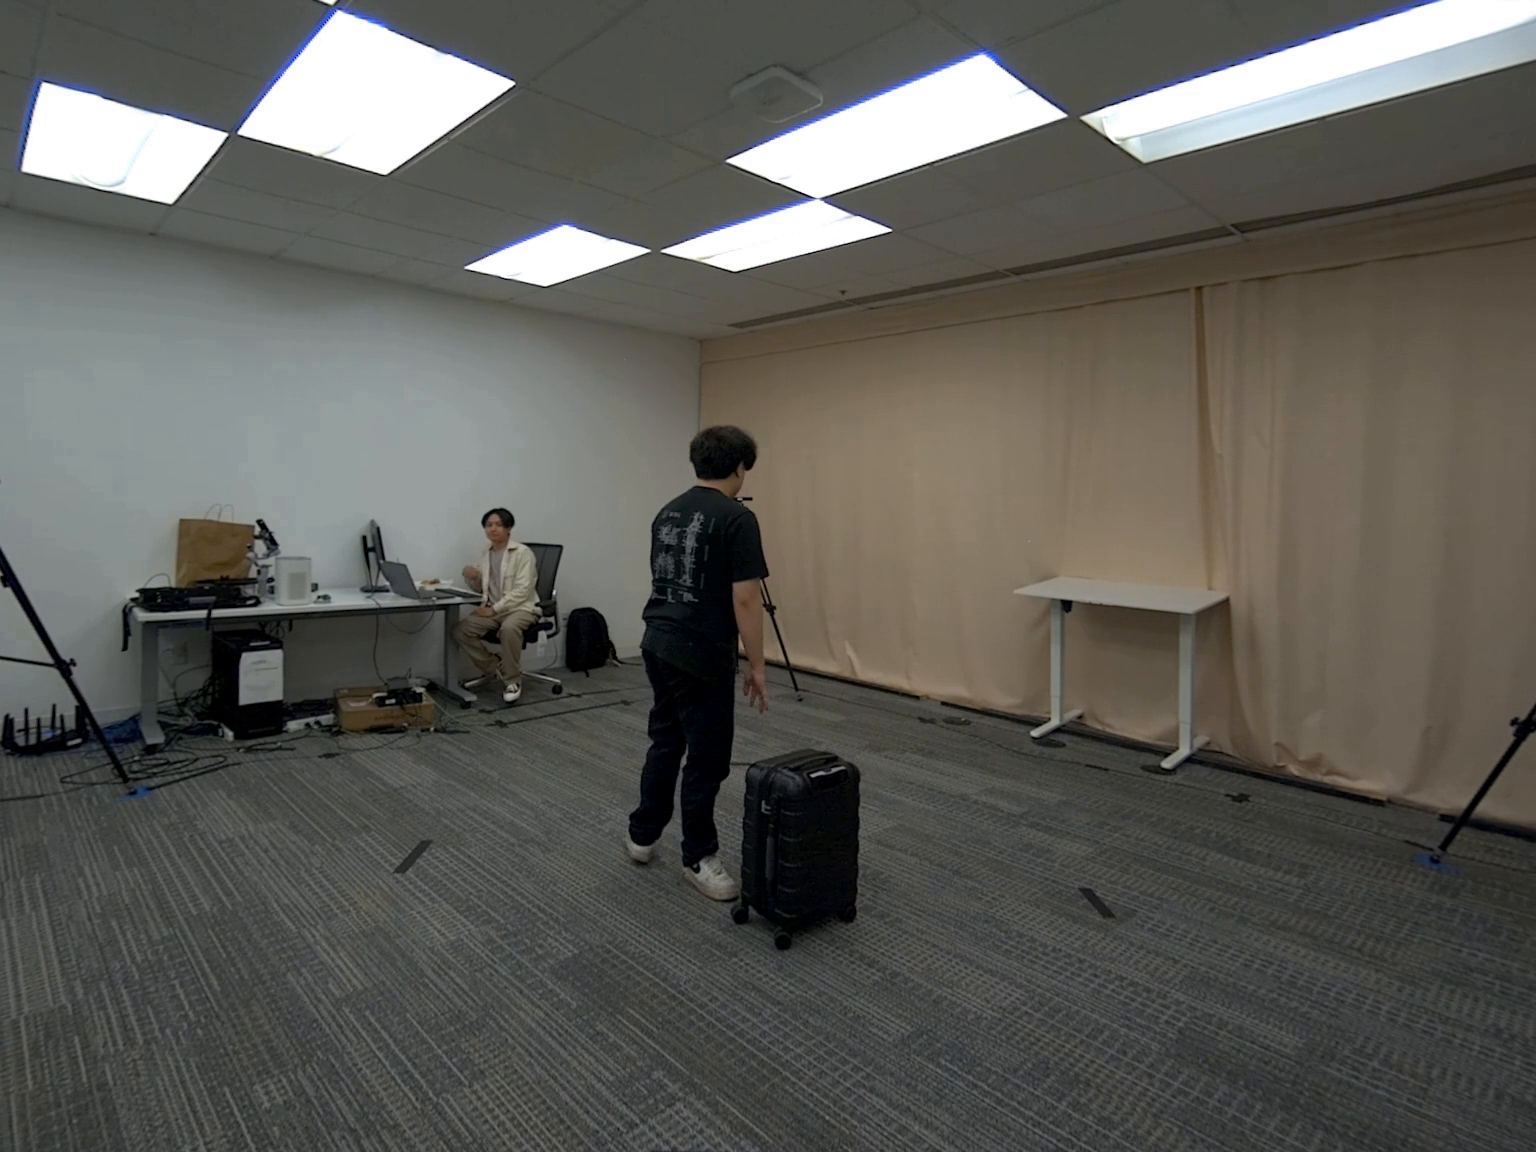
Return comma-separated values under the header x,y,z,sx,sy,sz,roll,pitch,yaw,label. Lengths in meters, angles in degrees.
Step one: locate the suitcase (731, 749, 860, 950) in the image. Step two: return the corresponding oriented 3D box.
x,y,z,sx,sy,sz,roll,pitch,yaw,label
0.104,0.865,2.771,0.367,0.548,0.254,-2,4,-41,suitcase
